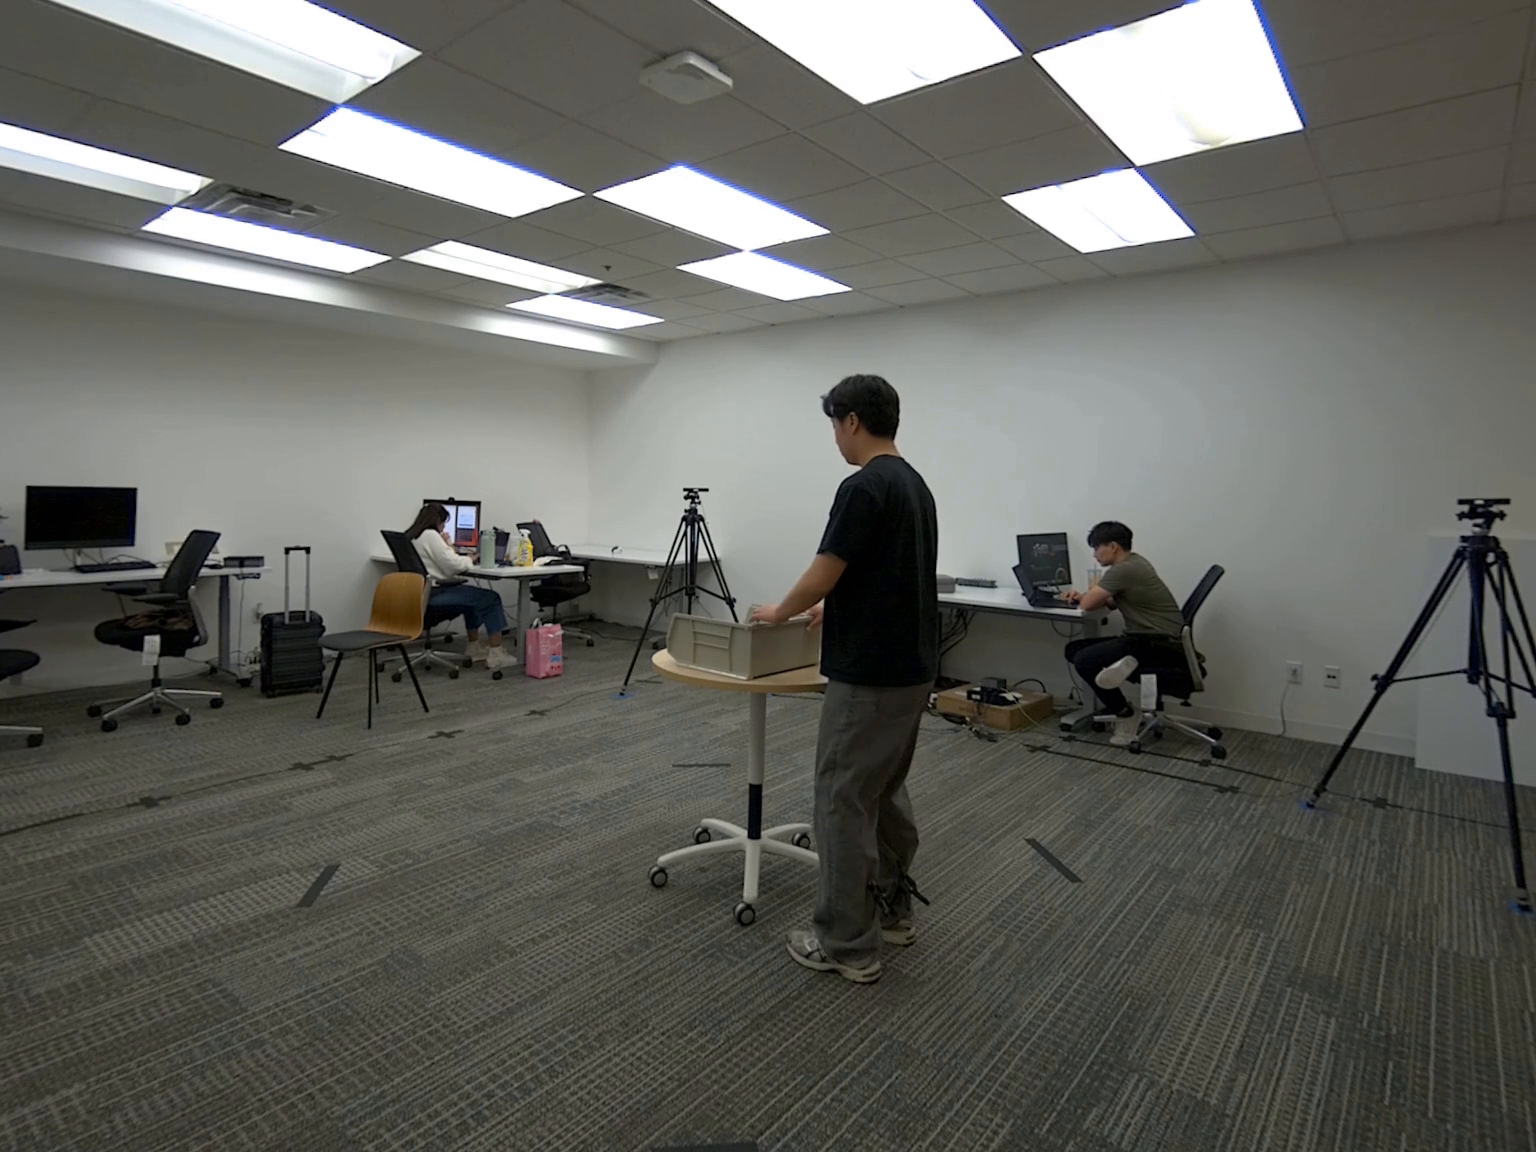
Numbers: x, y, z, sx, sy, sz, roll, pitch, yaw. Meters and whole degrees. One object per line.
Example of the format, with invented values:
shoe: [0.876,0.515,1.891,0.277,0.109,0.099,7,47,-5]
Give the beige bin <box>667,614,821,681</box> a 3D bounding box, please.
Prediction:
beige bin: [-0.082,0.217,2.951,0.390,0.188,0.409,7,7,41]
